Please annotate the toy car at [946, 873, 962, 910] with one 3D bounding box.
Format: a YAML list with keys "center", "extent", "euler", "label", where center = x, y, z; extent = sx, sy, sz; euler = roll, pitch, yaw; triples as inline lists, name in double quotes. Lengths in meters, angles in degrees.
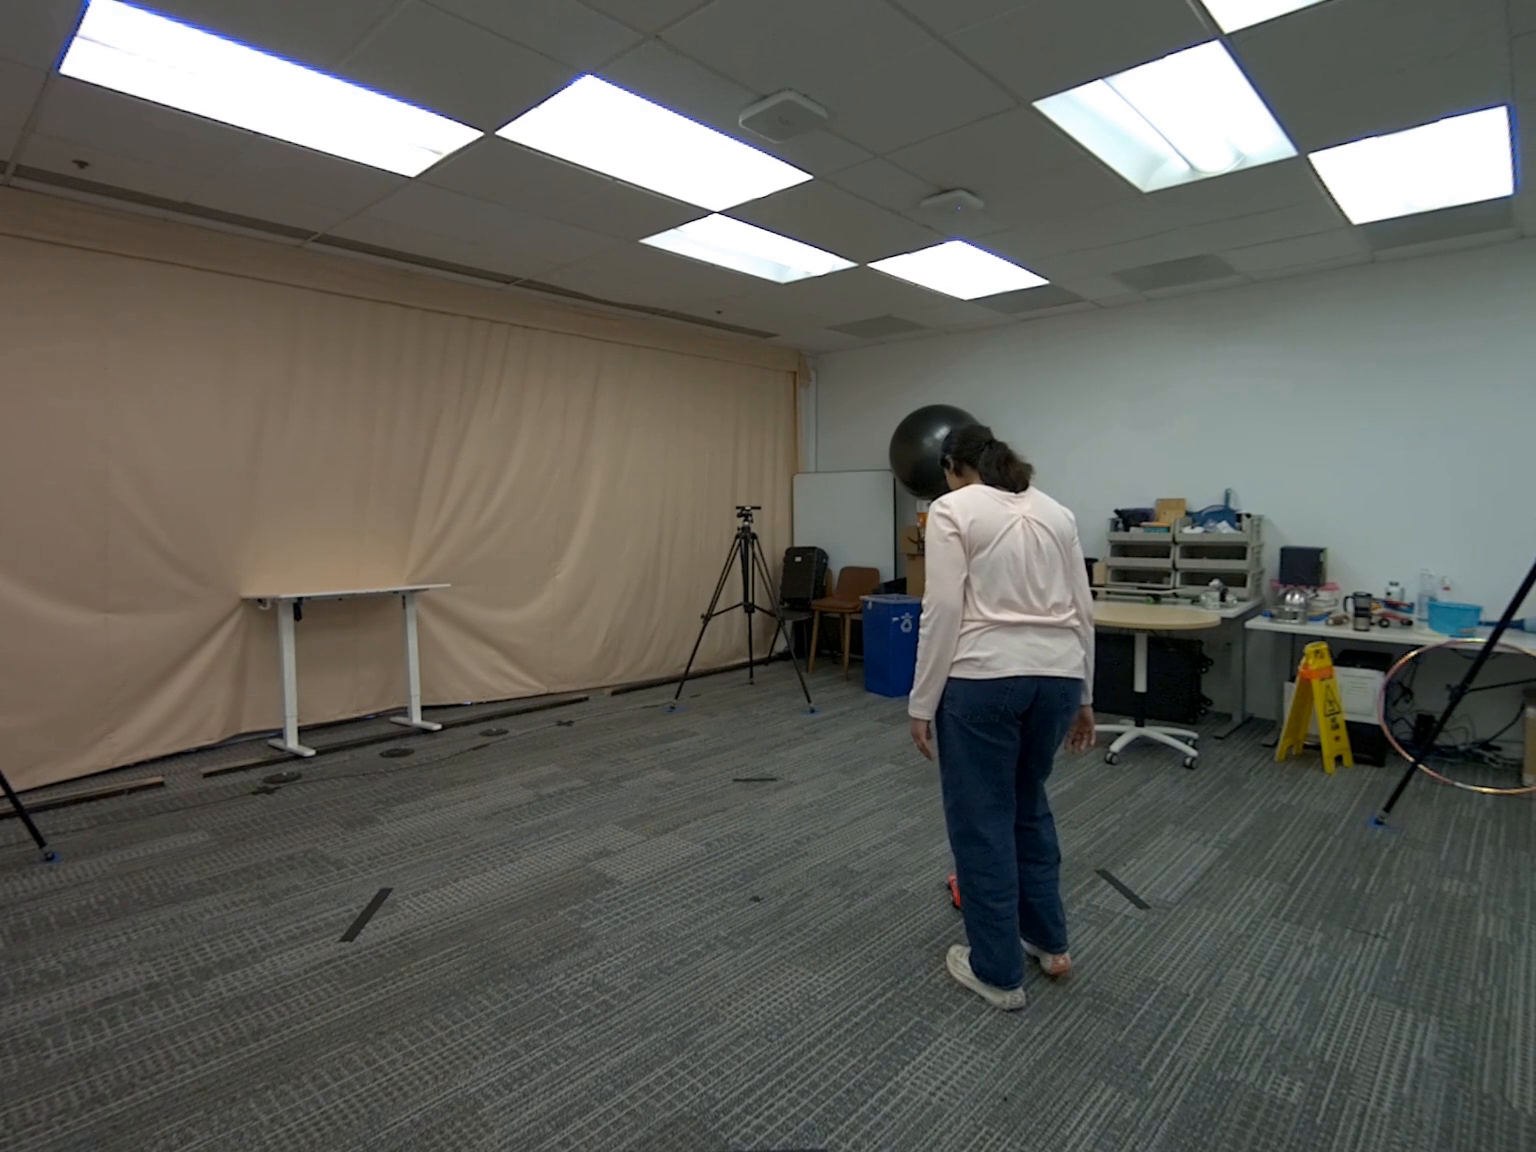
- center: [0.713, 1.114, 2.954]
  extent: [0.131, 0.083, 0.251]
  euler: [0, -8, 5]
  label: "toy car"
